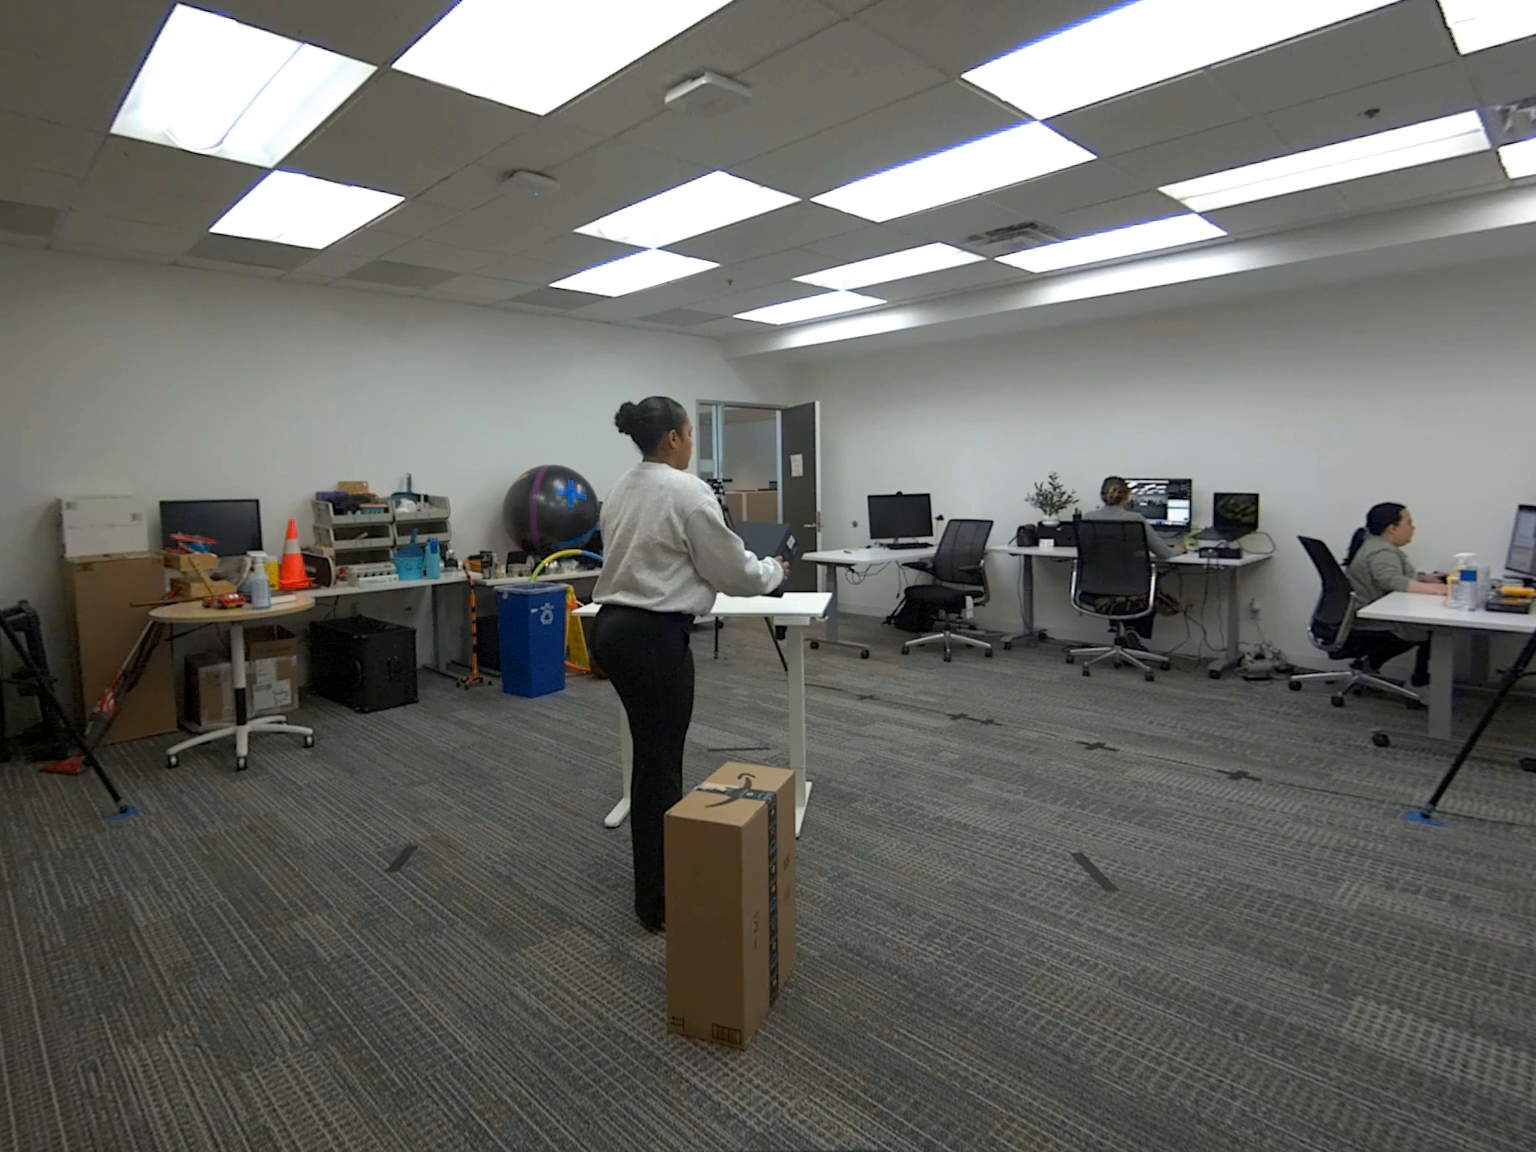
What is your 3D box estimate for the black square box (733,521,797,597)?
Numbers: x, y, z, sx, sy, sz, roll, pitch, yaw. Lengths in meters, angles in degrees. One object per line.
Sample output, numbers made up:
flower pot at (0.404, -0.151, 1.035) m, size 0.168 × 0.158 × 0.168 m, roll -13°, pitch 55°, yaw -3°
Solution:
black square box at (-0.029, -0.062, 3.067) m, size 0.235 × 0.219 × 0.150 m, roll 5°, pitch -37°, yaw 34°
